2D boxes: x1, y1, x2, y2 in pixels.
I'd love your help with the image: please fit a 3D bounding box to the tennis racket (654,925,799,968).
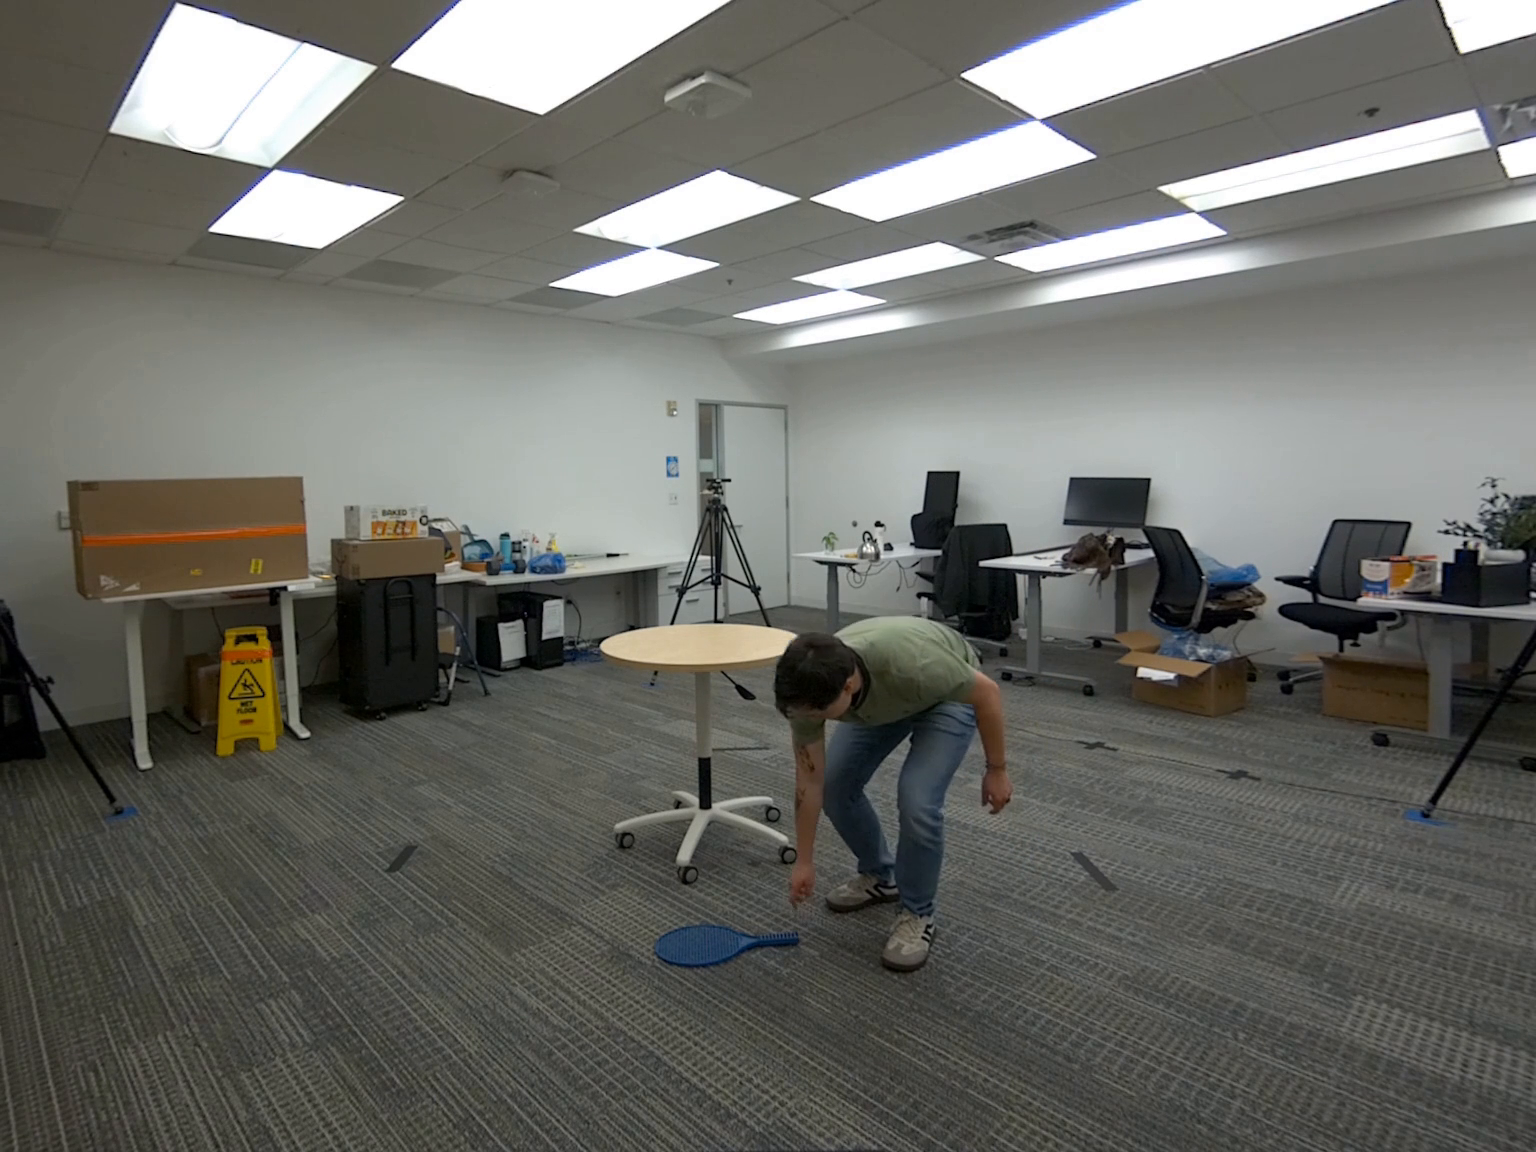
[{"bbox_3d":[-0.117,1.098,2.554,0.432,0.031,0.215,-3,7,-2],"label":"tennis racket"}]
